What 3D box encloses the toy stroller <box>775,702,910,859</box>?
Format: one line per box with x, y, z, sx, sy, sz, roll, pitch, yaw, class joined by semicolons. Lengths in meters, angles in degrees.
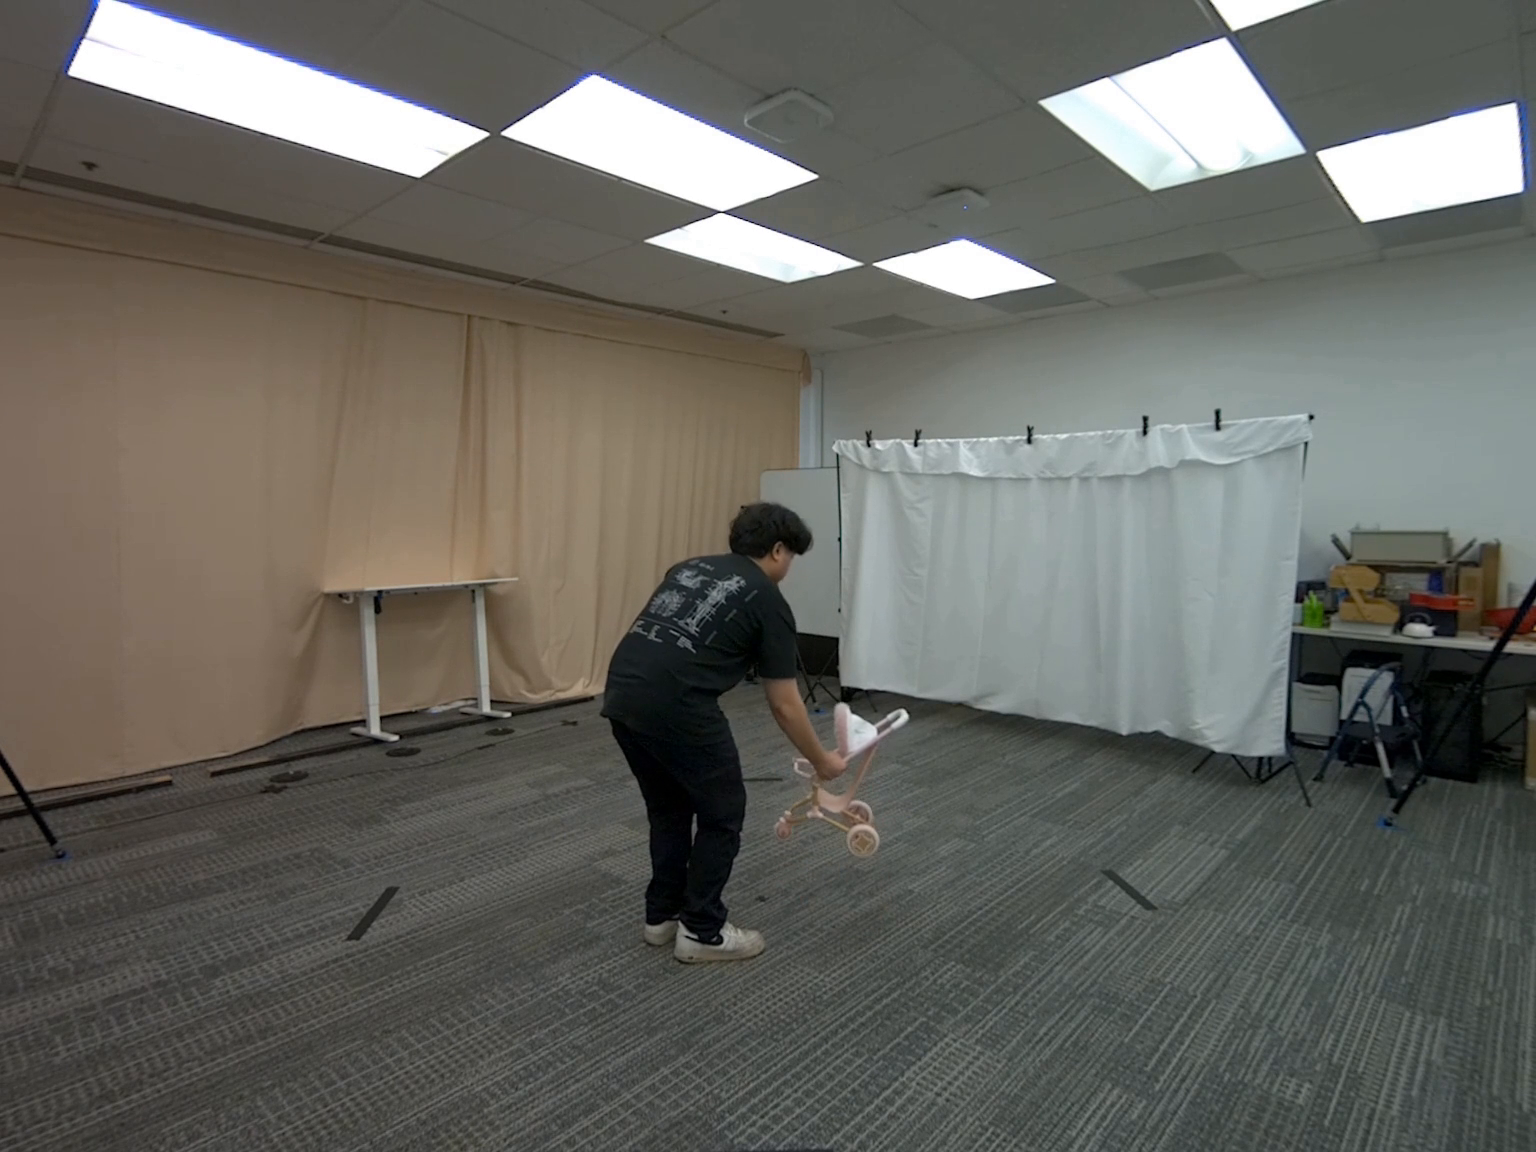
0.239;0.670;2.835;0.345;0.534;0.278;14;2;9;toy stroller
